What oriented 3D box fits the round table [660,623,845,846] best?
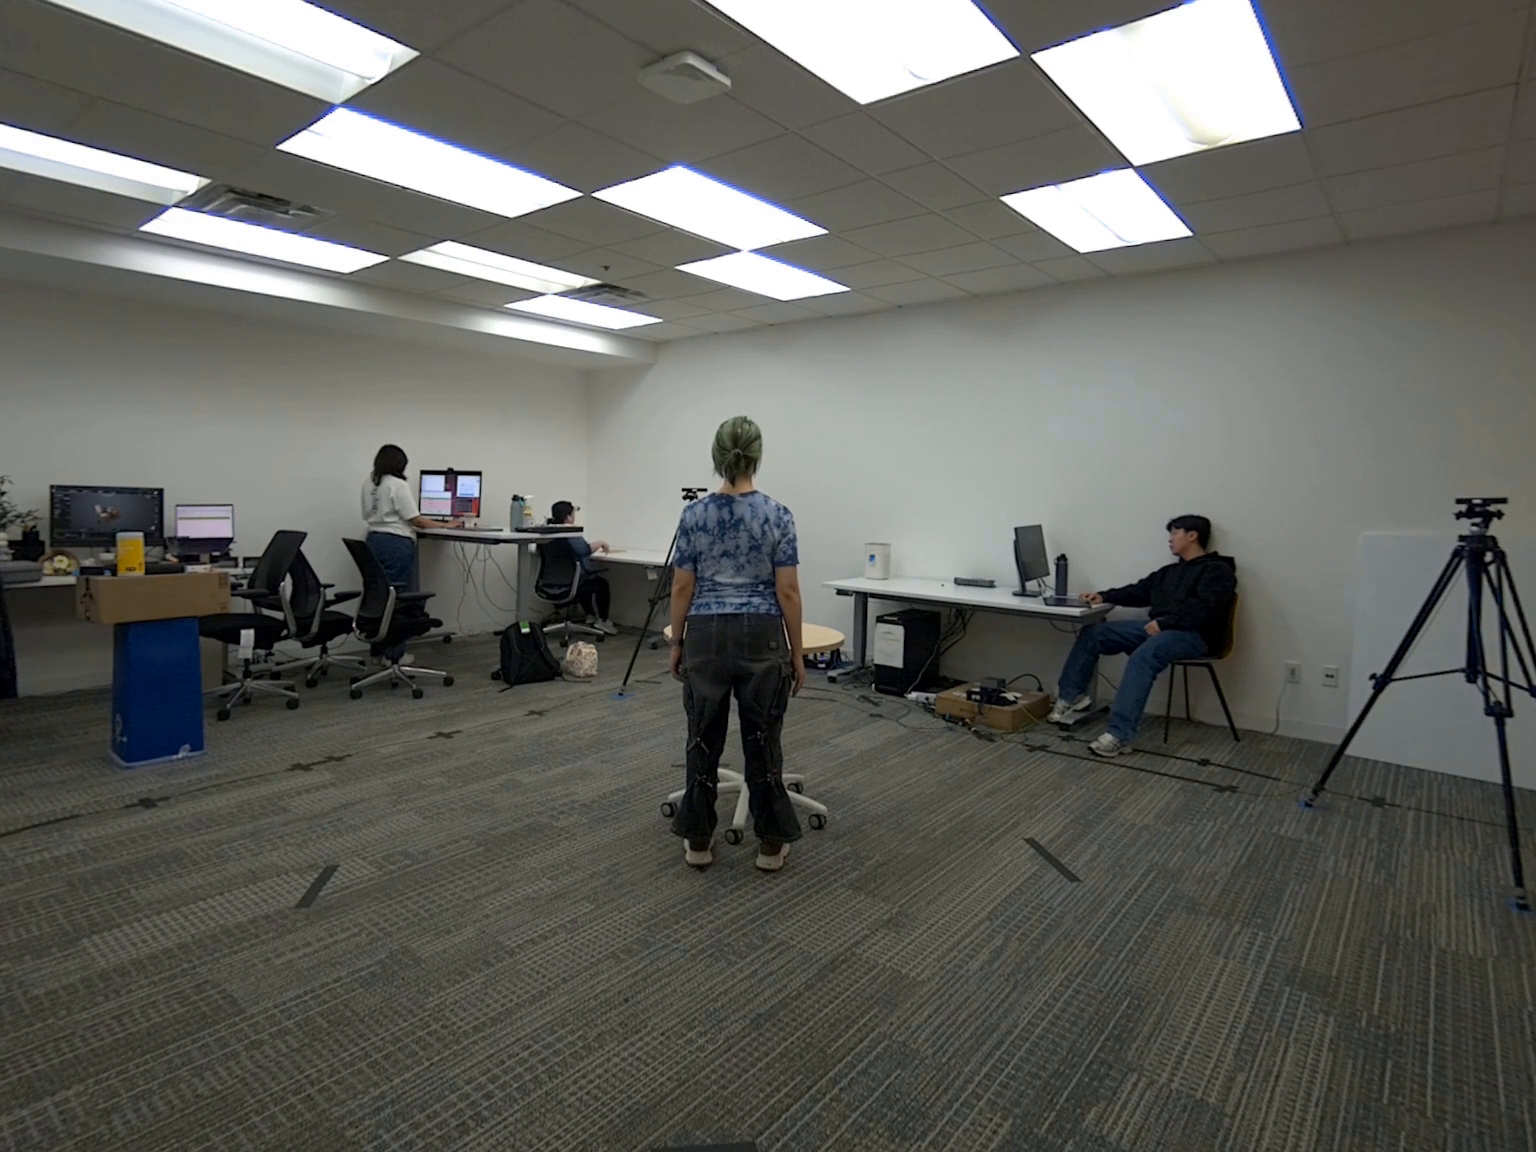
[{"bbox_3d":[-0.069,0.626,3.629,0.784,0.784,0.789,1,4,-2],"label":"round table"}]
